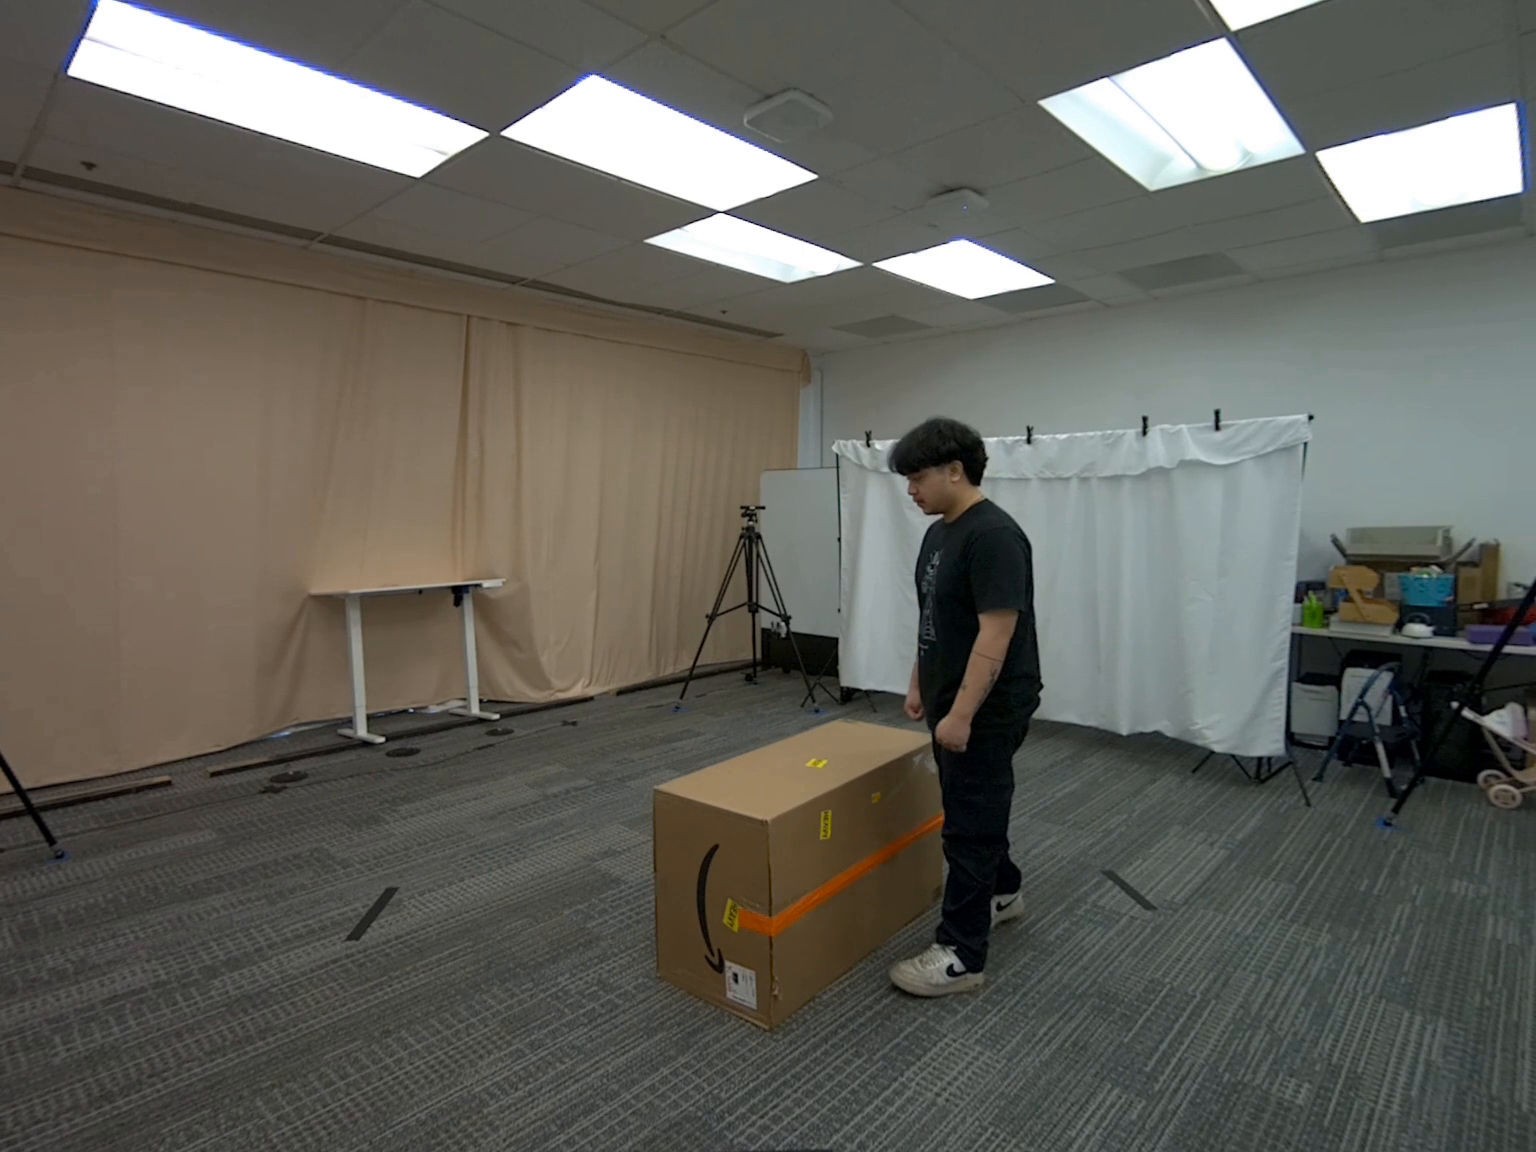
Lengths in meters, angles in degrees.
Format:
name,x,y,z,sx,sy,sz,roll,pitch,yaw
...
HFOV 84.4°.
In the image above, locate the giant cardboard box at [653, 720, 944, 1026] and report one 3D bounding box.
name,x,y,z,sx,sy,sz,roll,pitch,yaw
giant cardboard box,0.143,0.880,2.728,0.461,0.582,0.997,4,6,38
